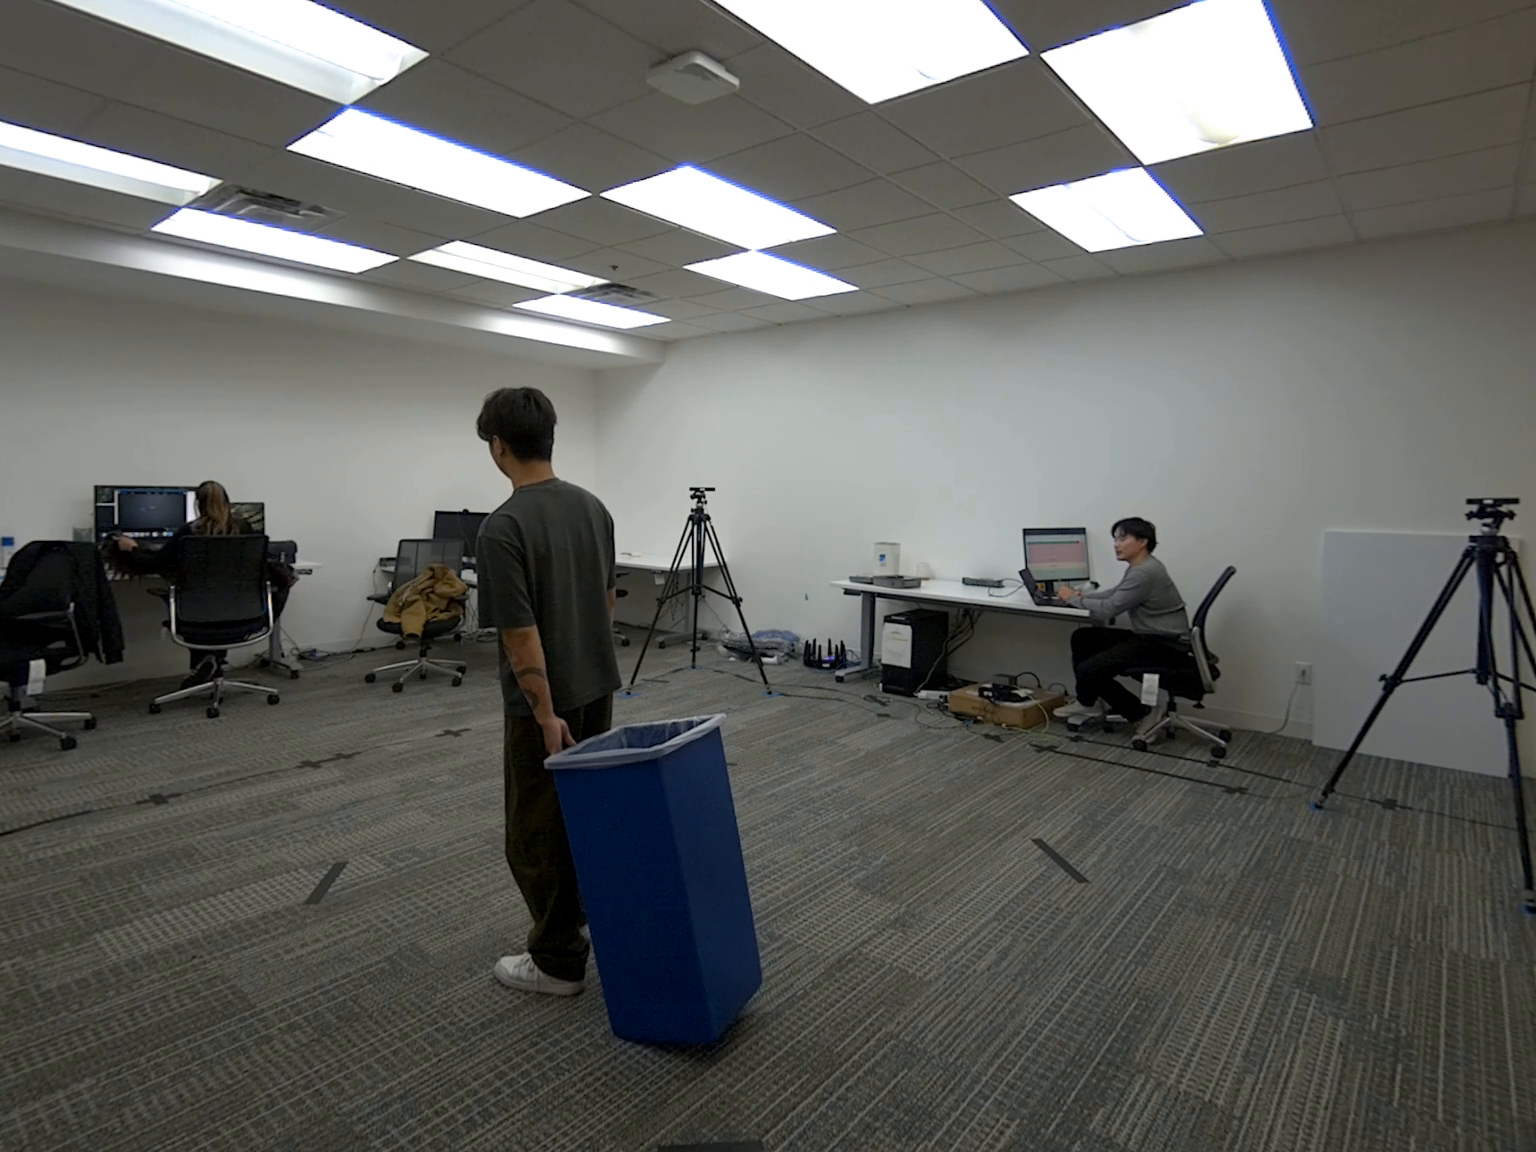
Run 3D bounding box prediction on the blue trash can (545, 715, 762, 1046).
[{"bbox_3d":[-0.286,0.772,2.224,0.385,0.717,0.365,-13,-4,26],"label":"blue trash can"}]
